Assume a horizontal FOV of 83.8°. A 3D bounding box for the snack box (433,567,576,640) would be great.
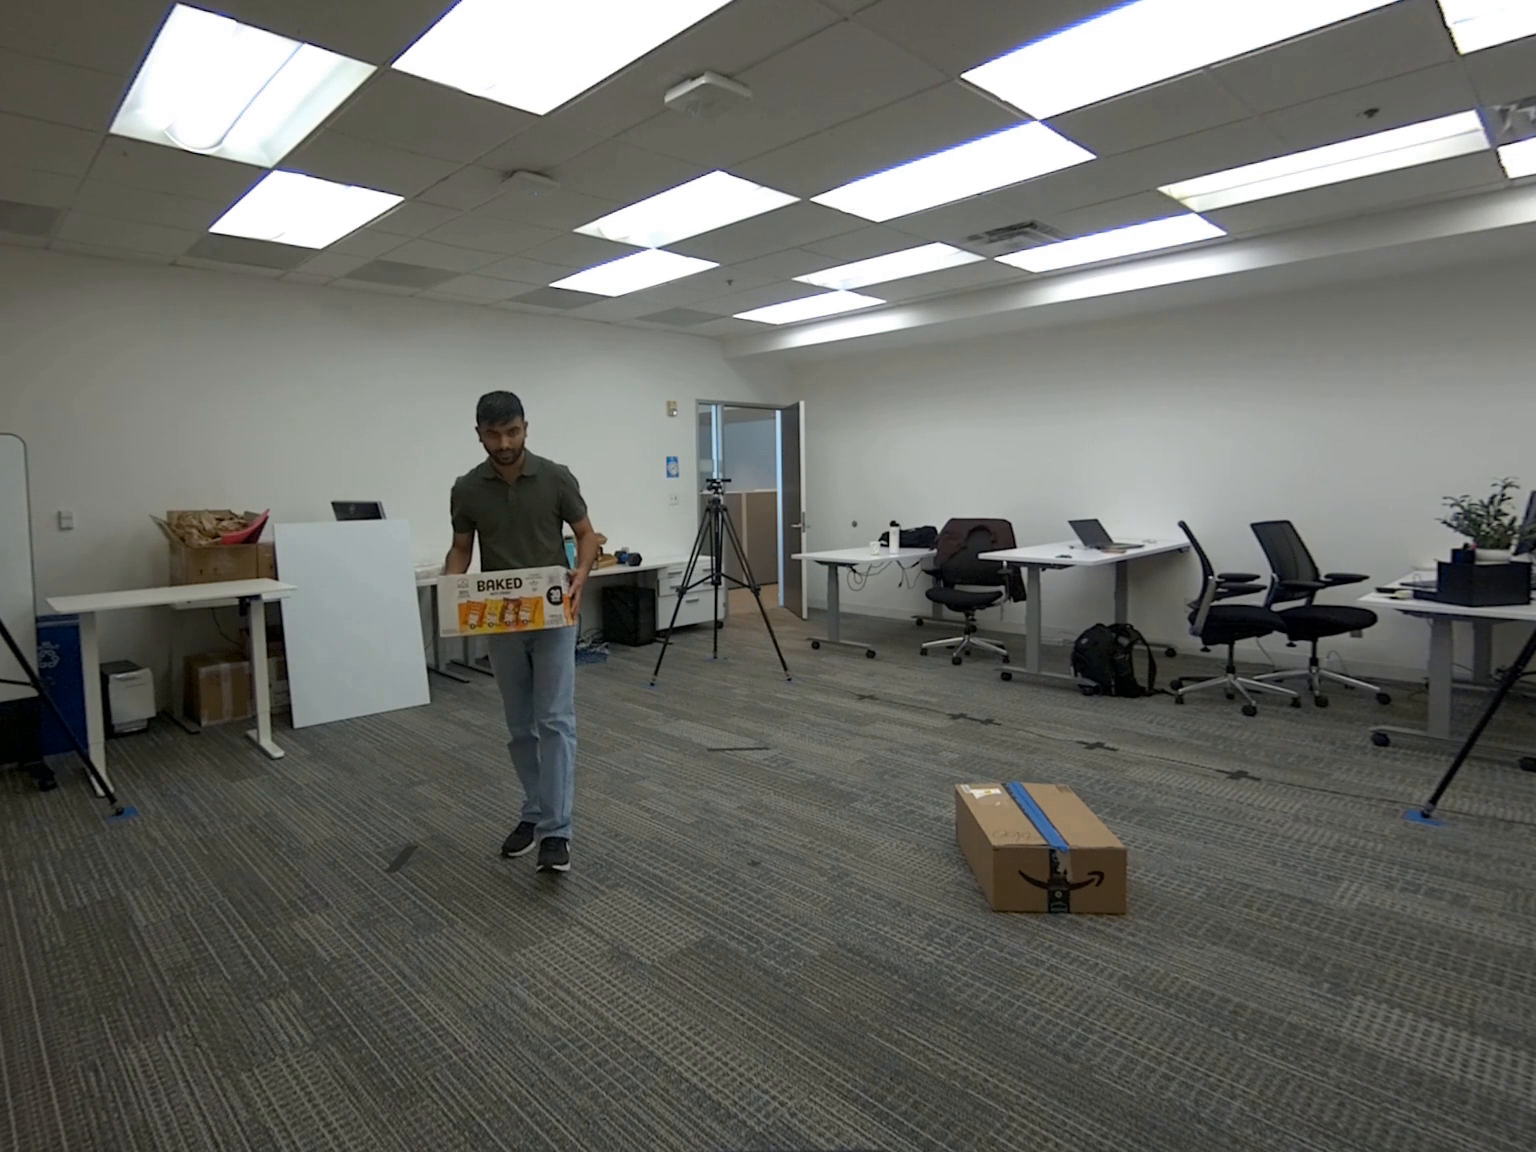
[{"bbox_3d":[-0.899,0.093,2.961,0.404,0.206,0.340,-4,-3,-4],"label":"snack box"}]
